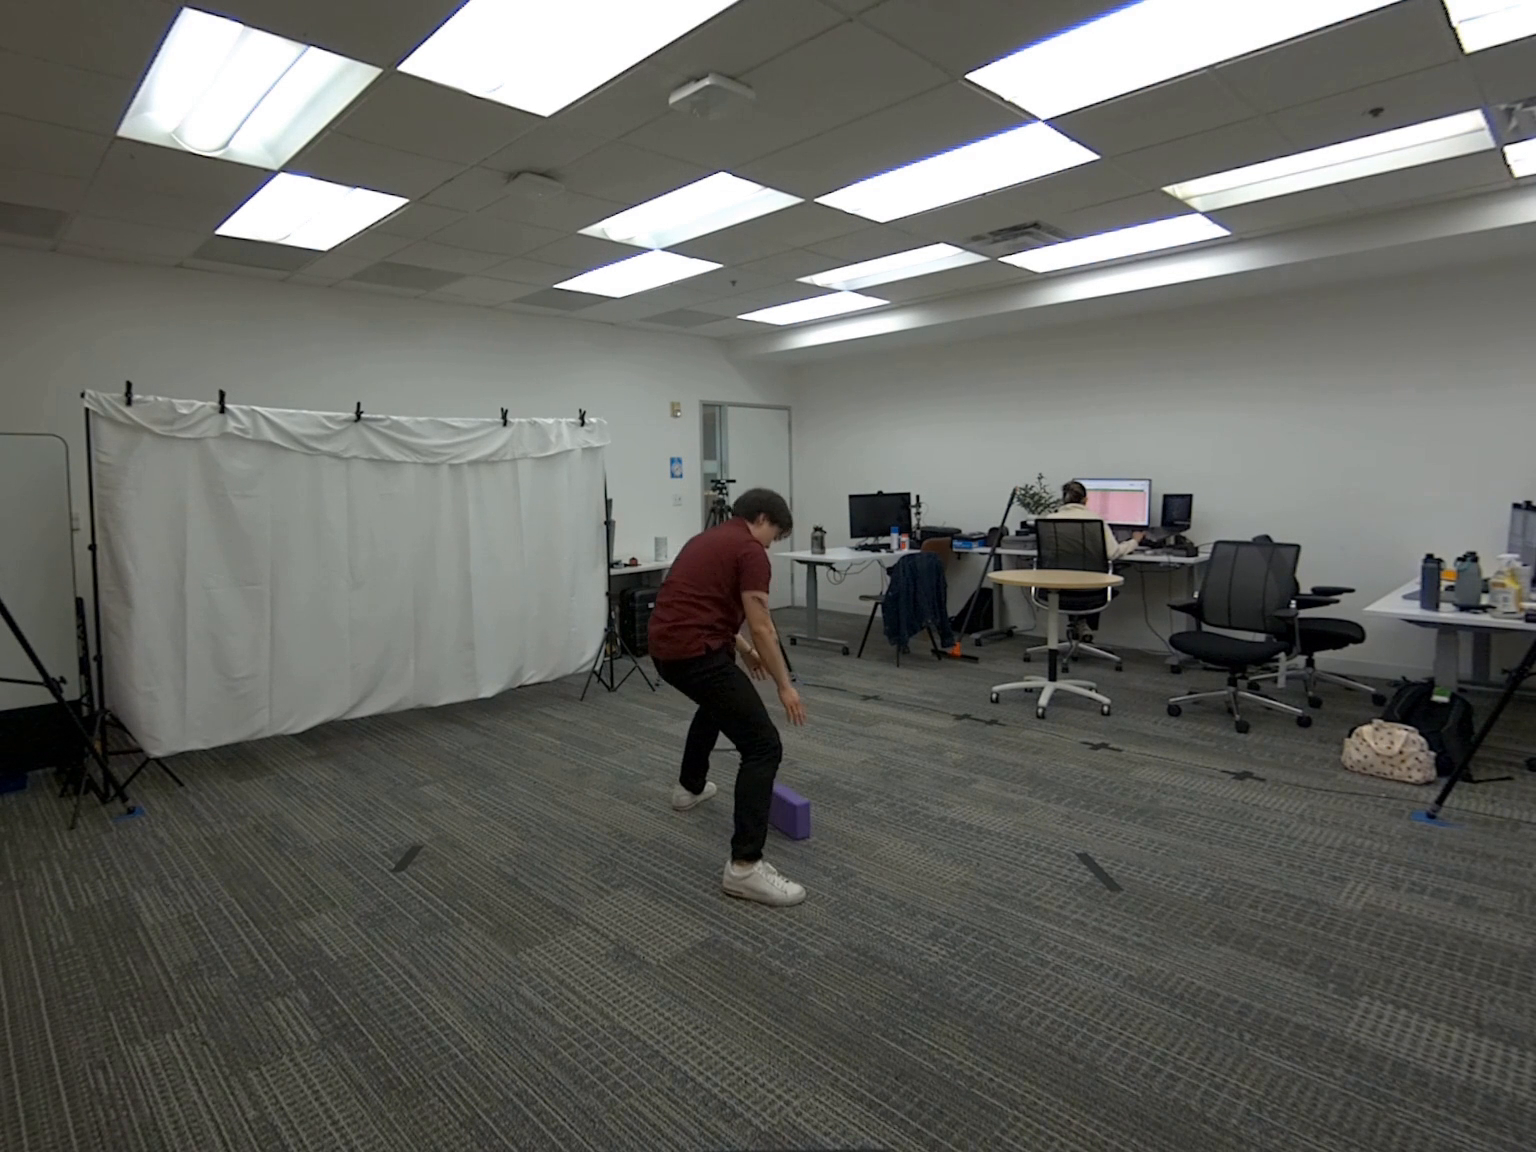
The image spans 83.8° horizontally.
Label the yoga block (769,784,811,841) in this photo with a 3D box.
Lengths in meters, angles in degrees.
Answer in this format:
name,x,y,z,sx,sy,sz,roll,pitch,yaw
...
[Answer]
name,x,y,z,sx,sy,sz,roll,pitch,yaw
yoga block,0.081,0.937,3.408,0.075,0.148,0.235,-3,6,-28
